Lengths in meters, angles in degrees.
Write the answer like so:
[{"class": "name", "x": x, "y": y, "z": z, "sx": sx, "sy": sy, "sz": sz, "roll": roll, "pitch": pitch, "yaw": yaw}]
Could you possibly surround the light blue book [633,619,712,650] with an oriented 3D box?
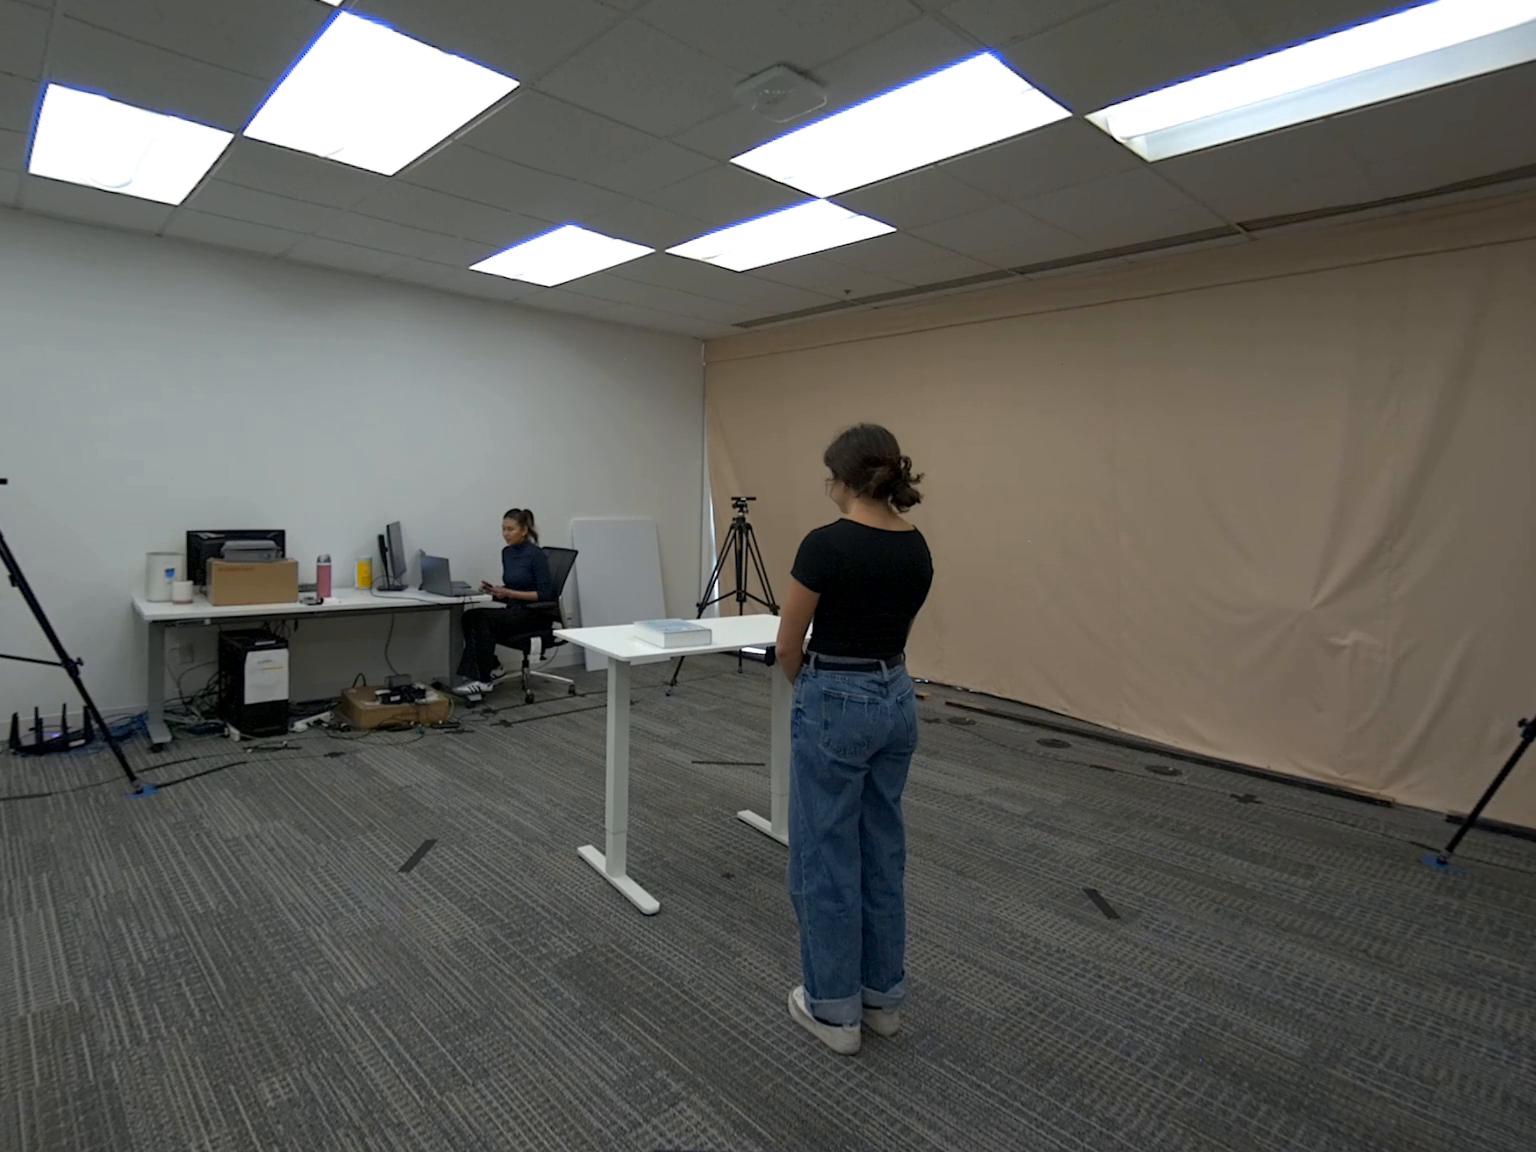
[{"class": "light blue book", "x": -0.349, "y": 0.202, "z": 2.982, "sx": 0.187, "sy": 0.059, "sz": 0.267, "roll": -3, "pitch": 7, "yaw": -32}]
